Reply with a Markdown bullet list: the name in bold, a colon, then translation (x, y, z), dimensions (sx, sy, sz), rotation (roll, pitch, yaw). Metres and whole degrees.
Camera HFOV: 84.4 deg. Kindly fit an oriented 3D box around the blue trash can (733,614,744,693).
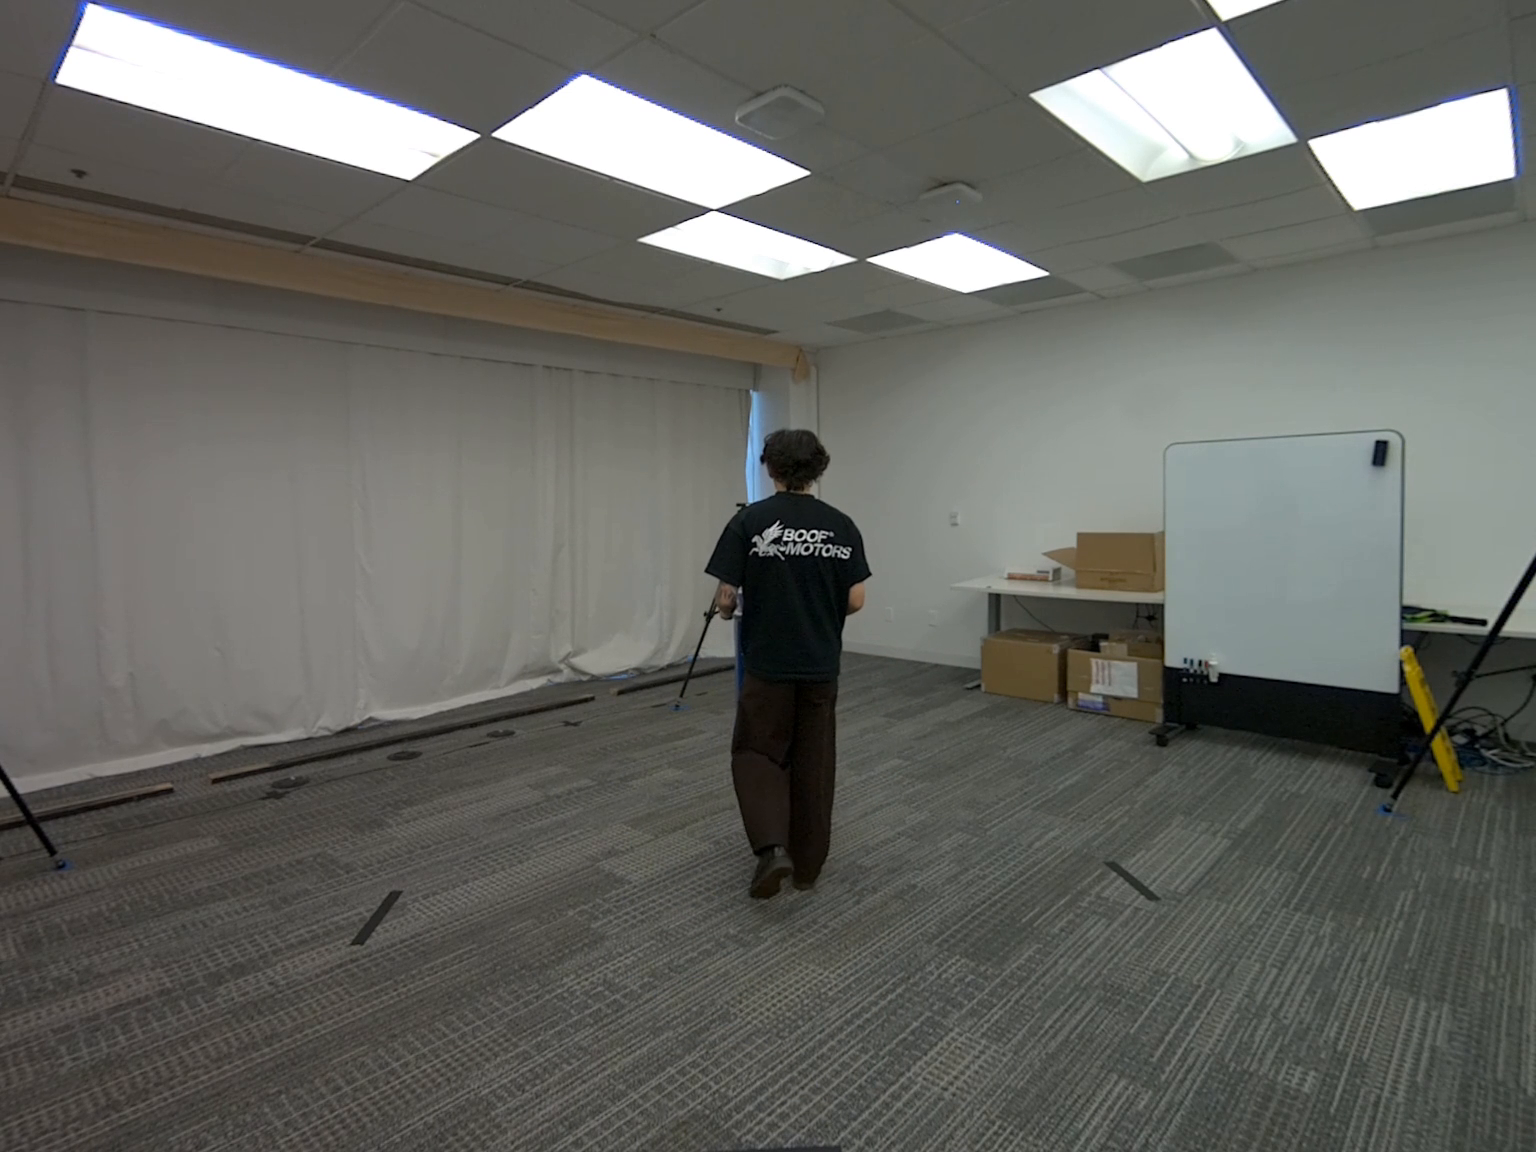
- **blue trash can**: translation (0.050, 0.453, 3.367), dimensions (0.373, 0.708, 0.382), rotation (-1, 12, -4)
